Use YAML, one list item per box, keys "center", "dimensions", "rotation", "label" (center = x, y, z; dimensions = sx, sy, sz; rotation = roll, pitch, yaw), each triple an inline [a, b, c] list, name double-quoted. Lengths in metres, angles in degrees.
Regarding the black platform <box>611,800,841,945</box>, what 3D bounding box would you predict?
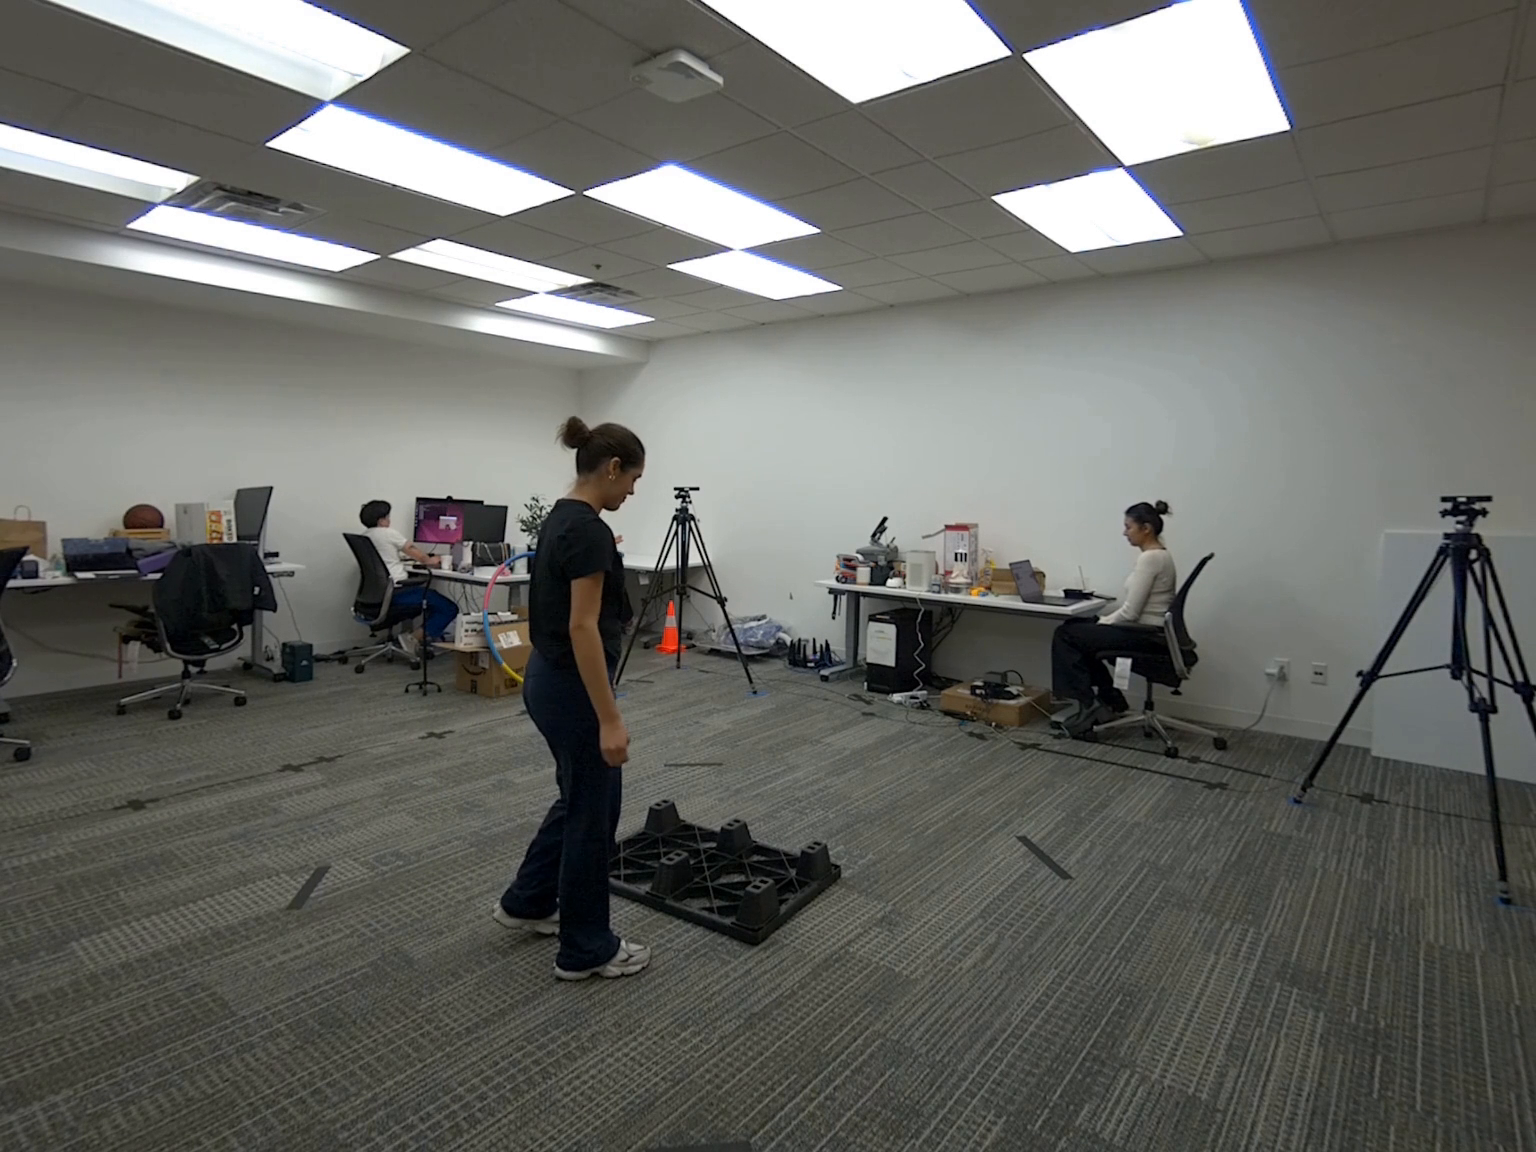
- center: [-0.217, 1.005, 3.053]
  dimensions: [0.831, 0.143, 0.588]
  rotation: [4, 6, 33]
  label: "black platform"
